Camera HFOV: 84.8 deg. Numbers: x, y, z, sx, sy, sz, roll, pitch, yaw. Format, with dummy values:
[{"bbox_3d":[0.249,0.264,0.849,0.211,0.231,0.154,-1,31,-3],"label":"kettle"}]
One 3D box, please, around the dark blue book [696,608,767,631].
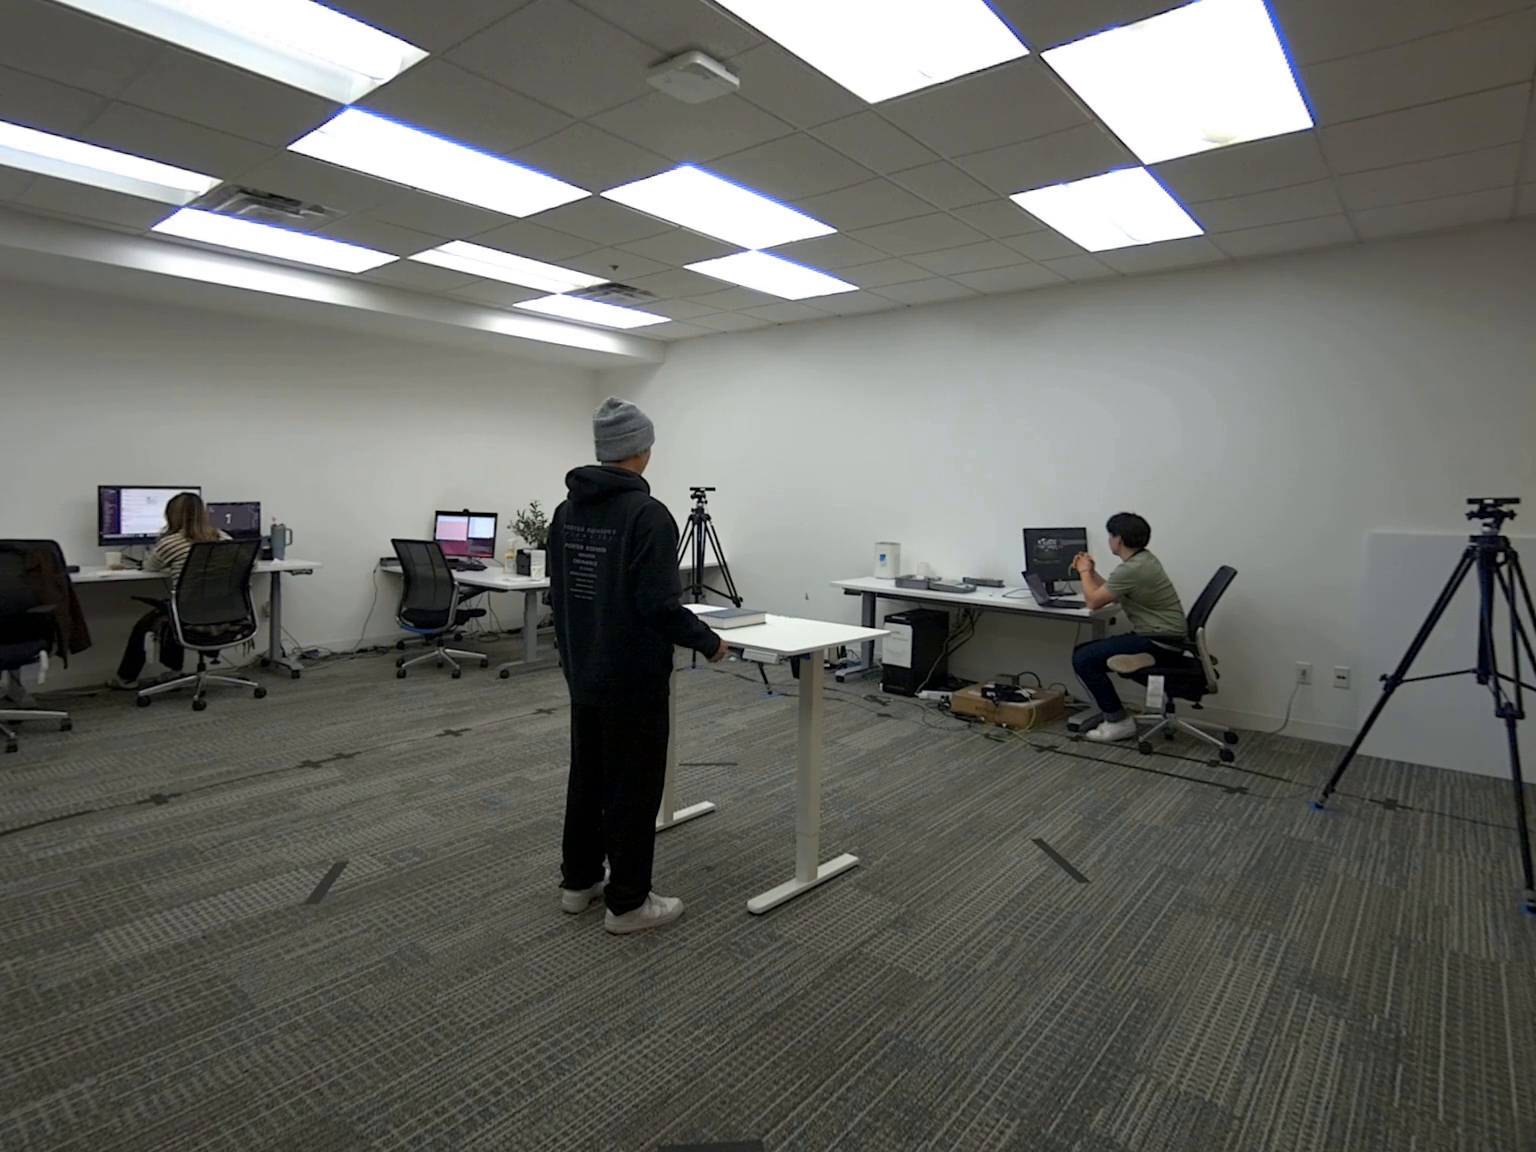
[{"bbox_3d":[-0.150,0.157,3.193,0.169,0.045,0.238,5,7,41],"label":"dark blue book"}]
